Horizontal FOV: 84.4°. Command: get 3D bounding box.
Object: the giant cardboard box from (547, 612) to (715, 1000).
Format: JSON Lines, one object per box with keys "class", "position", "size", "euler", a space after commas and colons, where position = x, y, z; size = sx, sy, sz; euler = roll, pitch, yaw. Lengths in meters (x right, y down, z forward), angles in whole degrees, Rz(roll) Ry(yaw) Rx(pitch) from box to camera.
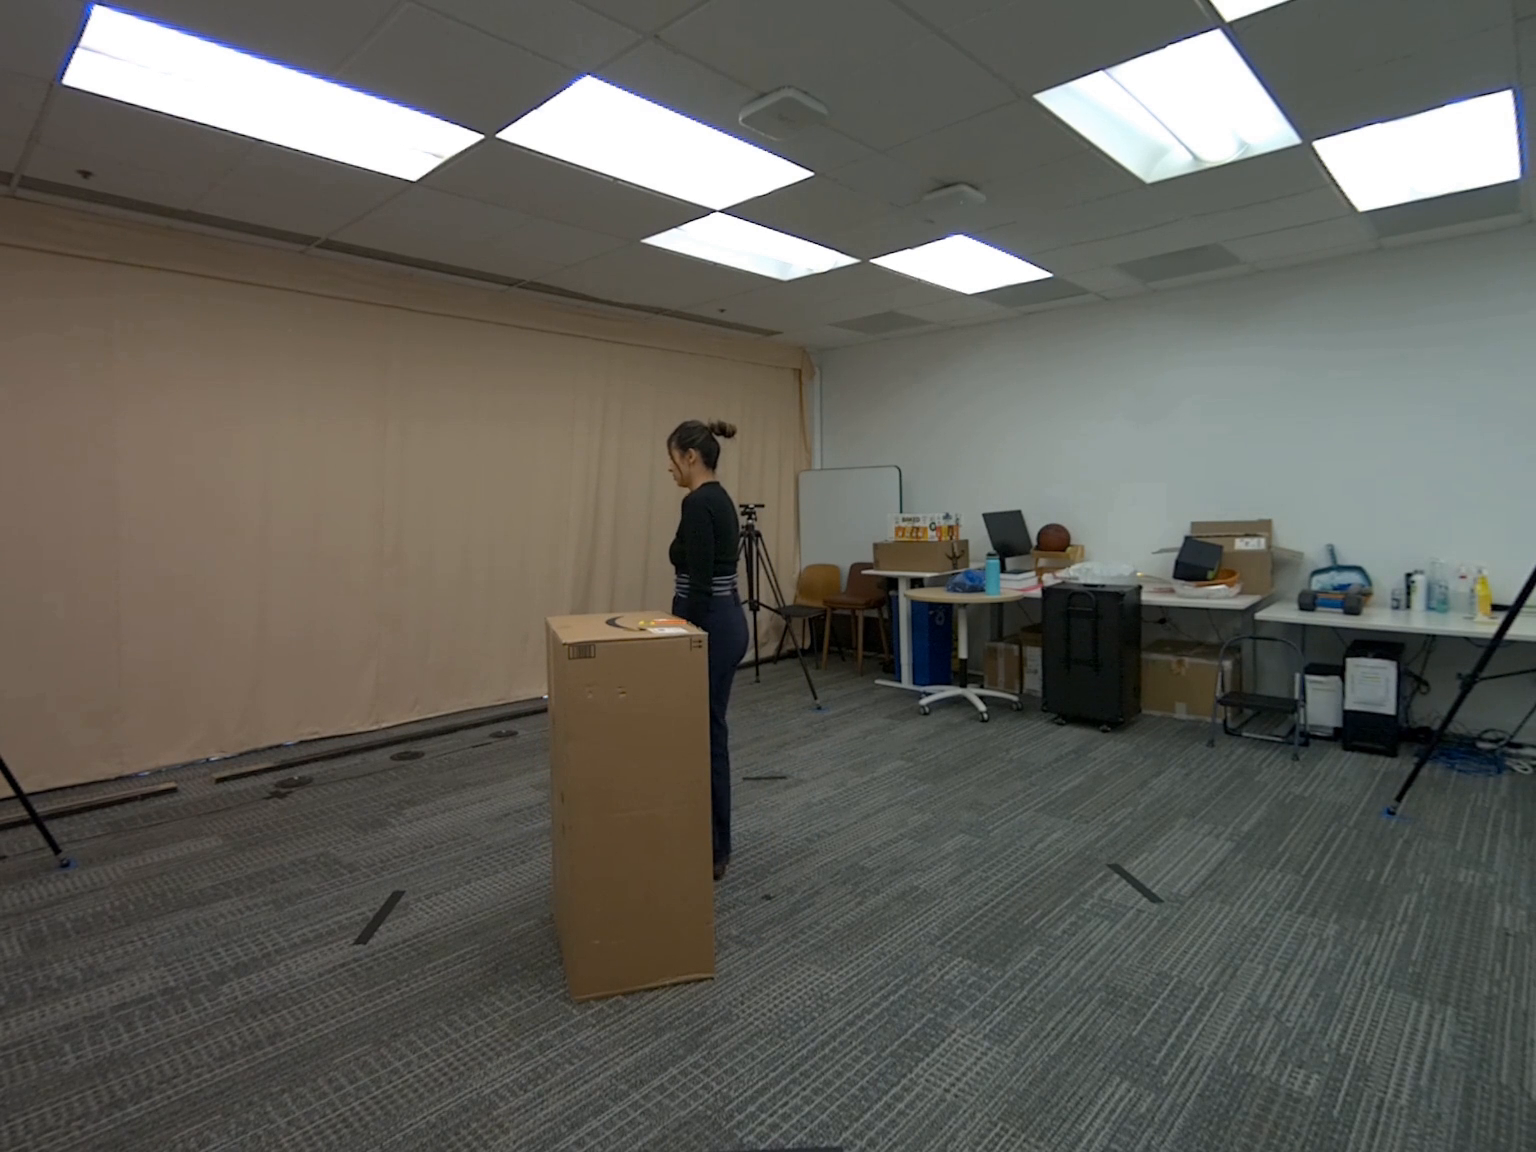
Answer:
{"class": "giant cardboard box", "position": [-0.461, 0.665, 2.668], "size": [0.418, 1.024, 0.589], "euler": [-2, 3, -19]}
